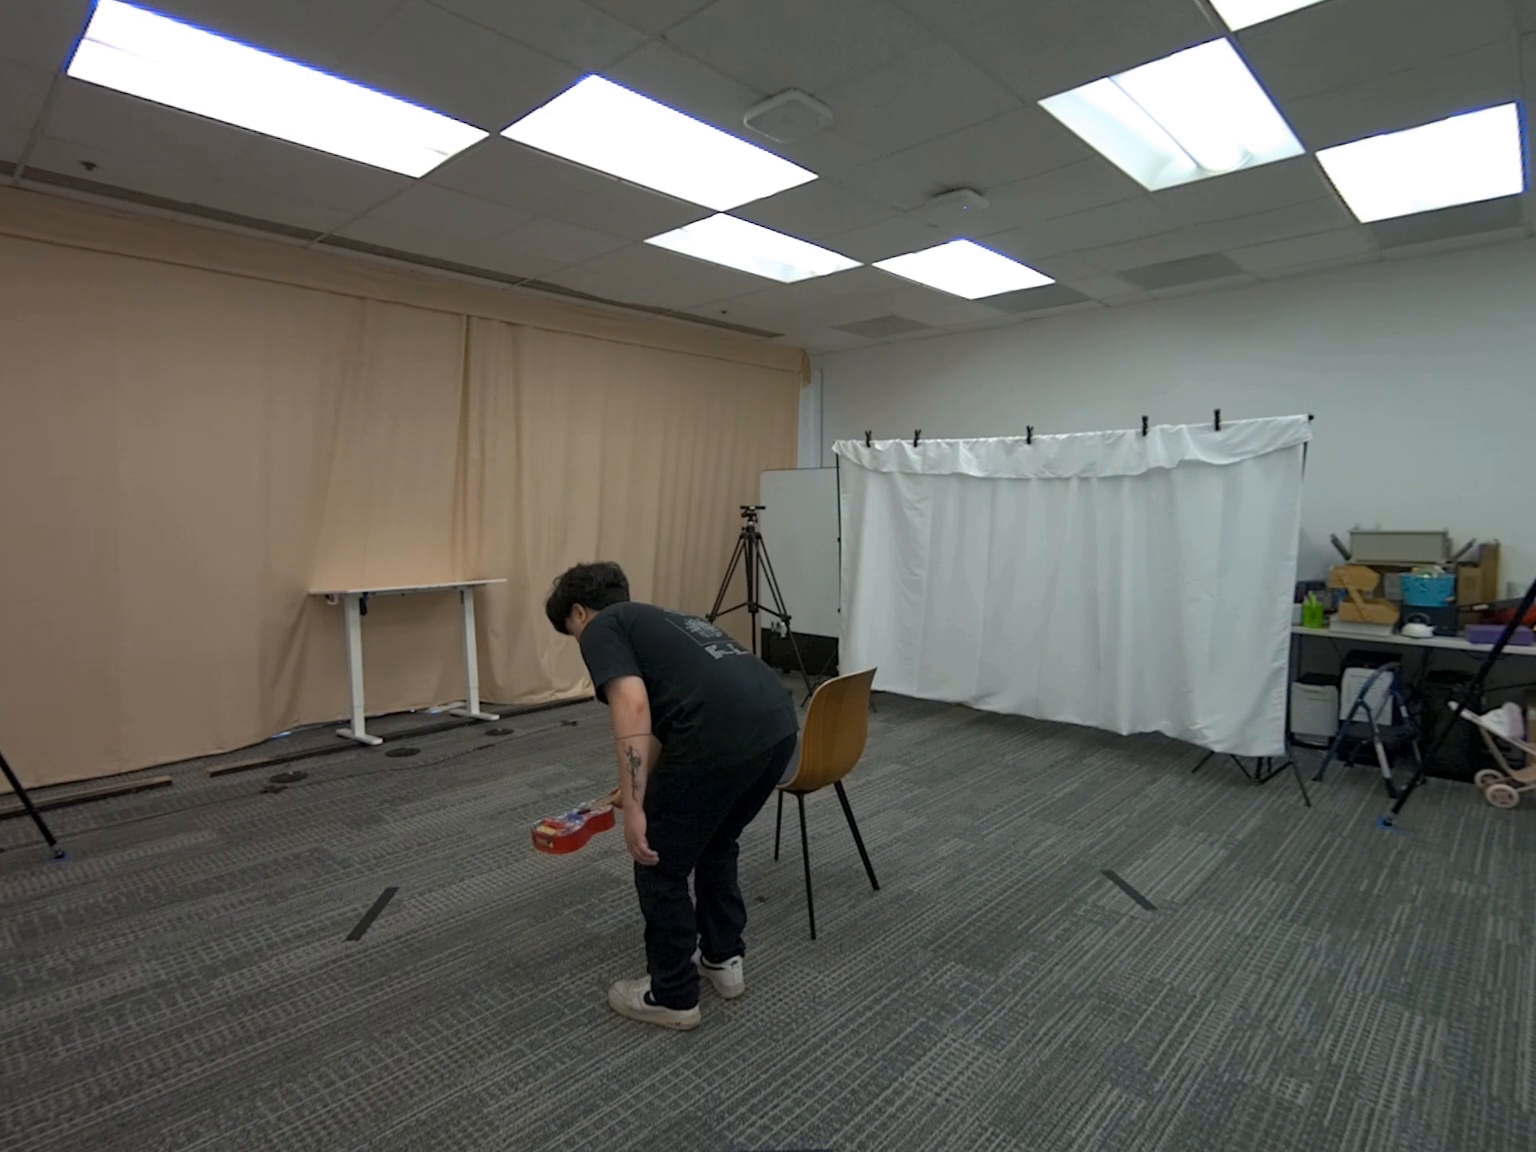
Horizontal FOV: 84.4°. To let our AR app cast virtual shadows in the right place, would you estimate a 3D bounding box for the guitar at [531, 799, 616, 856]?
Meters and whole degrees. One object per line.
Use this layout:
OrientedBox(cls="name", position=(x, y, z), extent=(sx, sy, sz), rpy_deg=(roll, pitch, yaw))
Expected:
OrientedBox(cls="guitar", position=(-0.523, 0.780, 2.737), extent=(0.485, 0.070, 0.199), rpy_deg=(-14, 9, -39))
